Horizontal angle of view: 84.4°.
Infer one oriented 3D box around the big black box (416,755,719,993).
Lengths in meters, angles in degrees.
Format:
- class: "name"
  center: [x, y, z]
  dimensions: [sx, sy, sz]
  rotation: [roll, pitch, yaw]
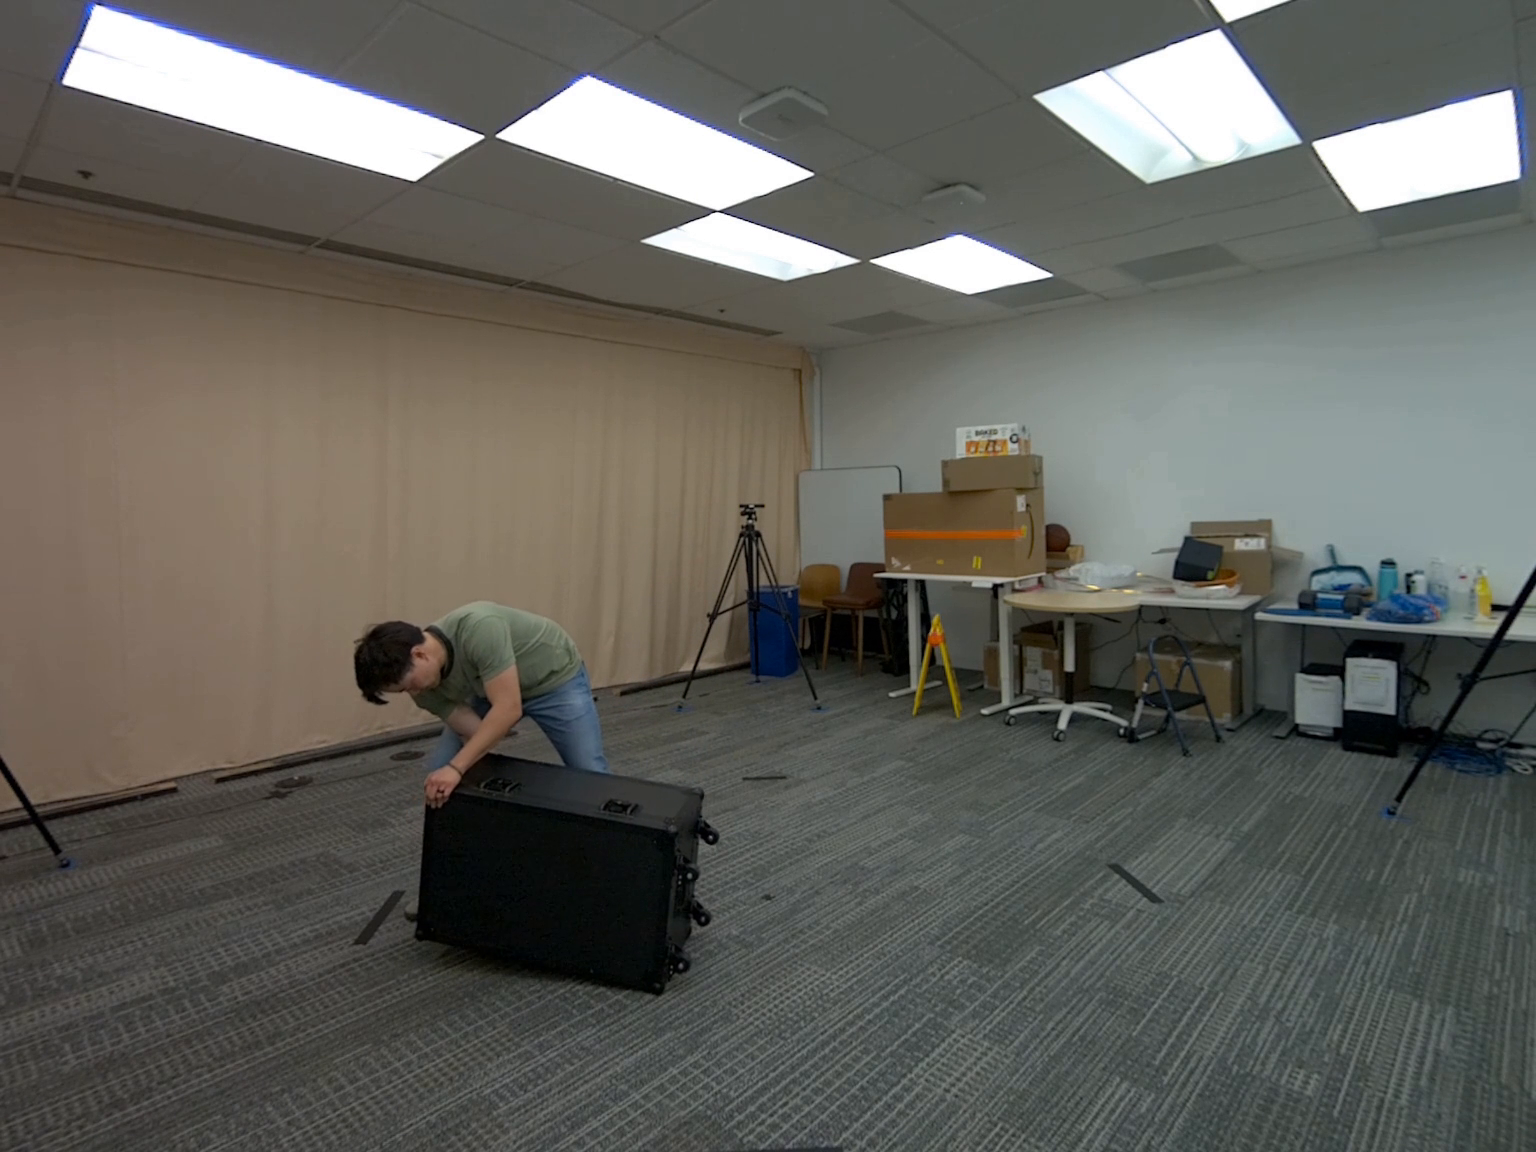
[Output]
- class: "big black box"
  center: [-0.655, 0.889, 2.639]
  dimensions: [0.872, 0.520, 0.392]
  rotation: [6, 4, 10]
